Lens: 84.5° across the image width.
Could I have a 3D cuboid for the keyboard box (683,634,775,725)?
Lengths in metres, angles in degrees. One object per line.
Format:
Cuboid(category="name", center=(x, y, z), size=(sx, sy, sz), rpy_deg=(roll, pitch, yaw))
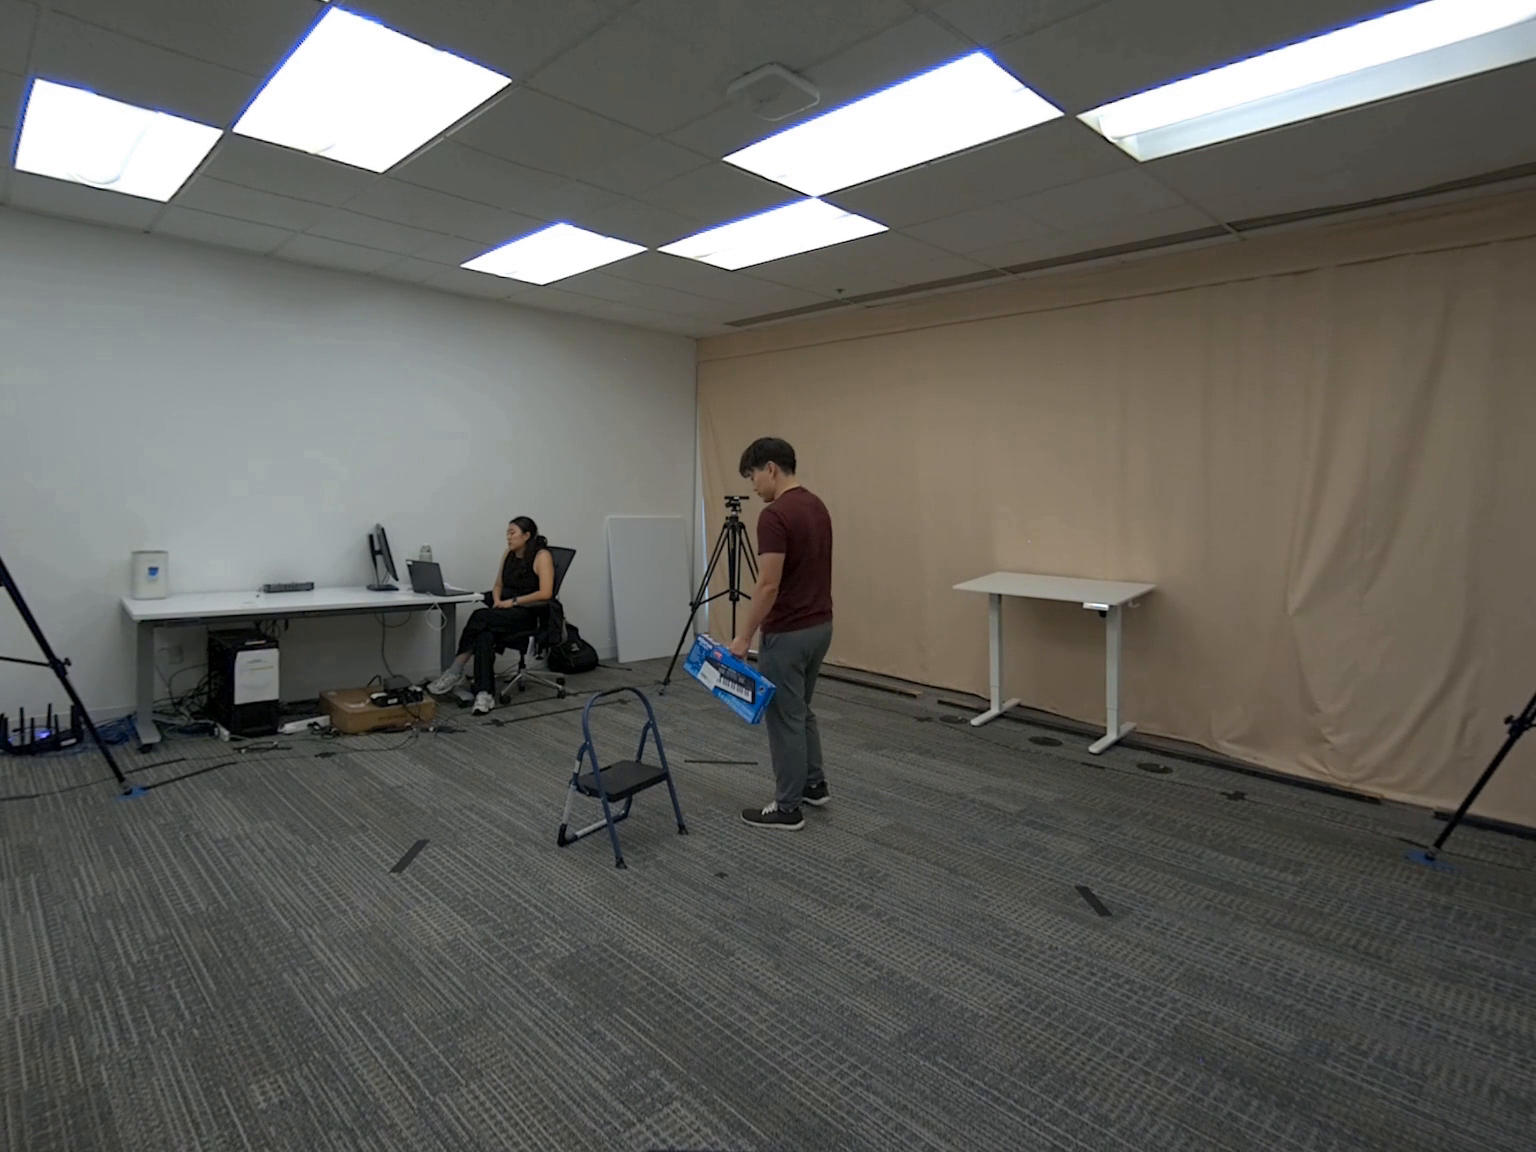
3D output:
Cuboid(category="keyboard box", center=(-0.156, 0.425, 3.477), size=(0.450, 0.175, 0.057), rpy_deg=(32, 12, 37))
